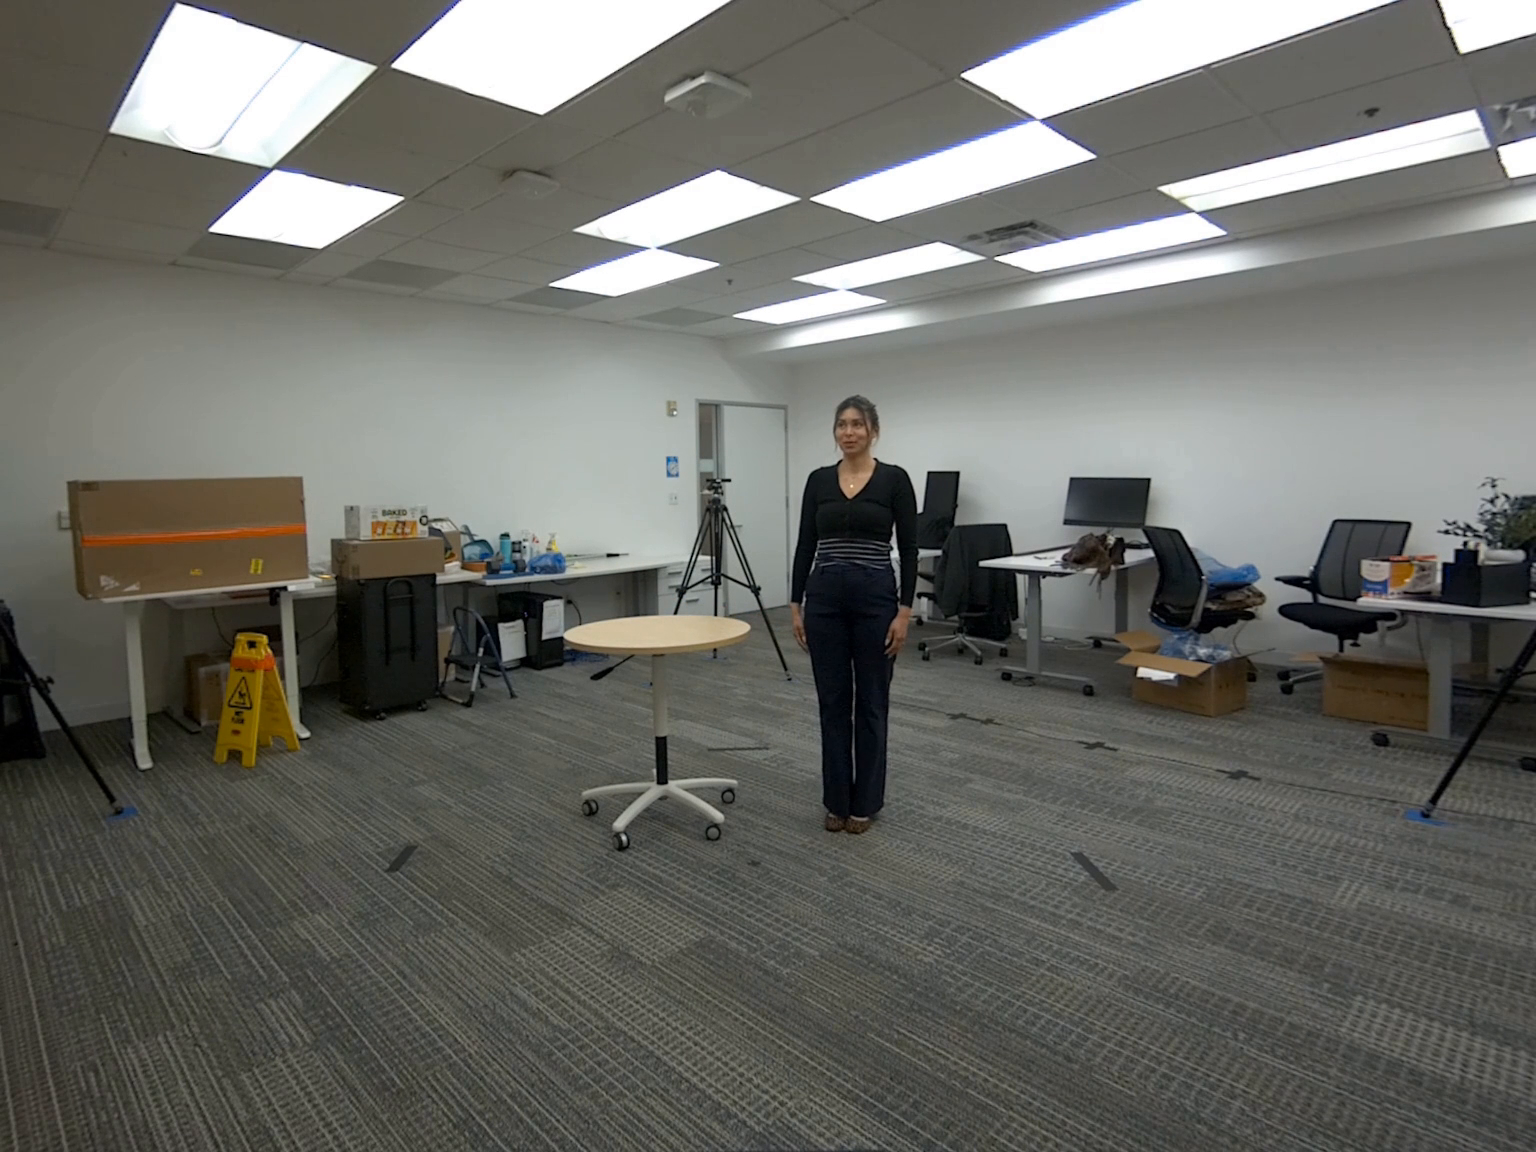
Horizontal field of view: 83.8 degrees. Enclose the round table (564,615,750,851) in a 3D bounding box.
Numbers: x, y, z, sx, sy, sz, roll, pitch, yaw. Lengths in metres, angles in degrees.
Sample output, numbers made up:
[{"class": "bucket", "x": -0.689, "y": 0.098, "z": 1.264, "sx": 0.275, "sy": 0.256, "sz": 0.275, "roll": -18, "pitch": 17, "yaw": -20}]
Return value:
[{"class": "round table", "x": -0.449, "y": 0.615, "z": 3.531, "sx": 0.763, "sy": 0.791, "sz": 0.767, "roll": -2, "pitch": 4, "yaw": -2}]
